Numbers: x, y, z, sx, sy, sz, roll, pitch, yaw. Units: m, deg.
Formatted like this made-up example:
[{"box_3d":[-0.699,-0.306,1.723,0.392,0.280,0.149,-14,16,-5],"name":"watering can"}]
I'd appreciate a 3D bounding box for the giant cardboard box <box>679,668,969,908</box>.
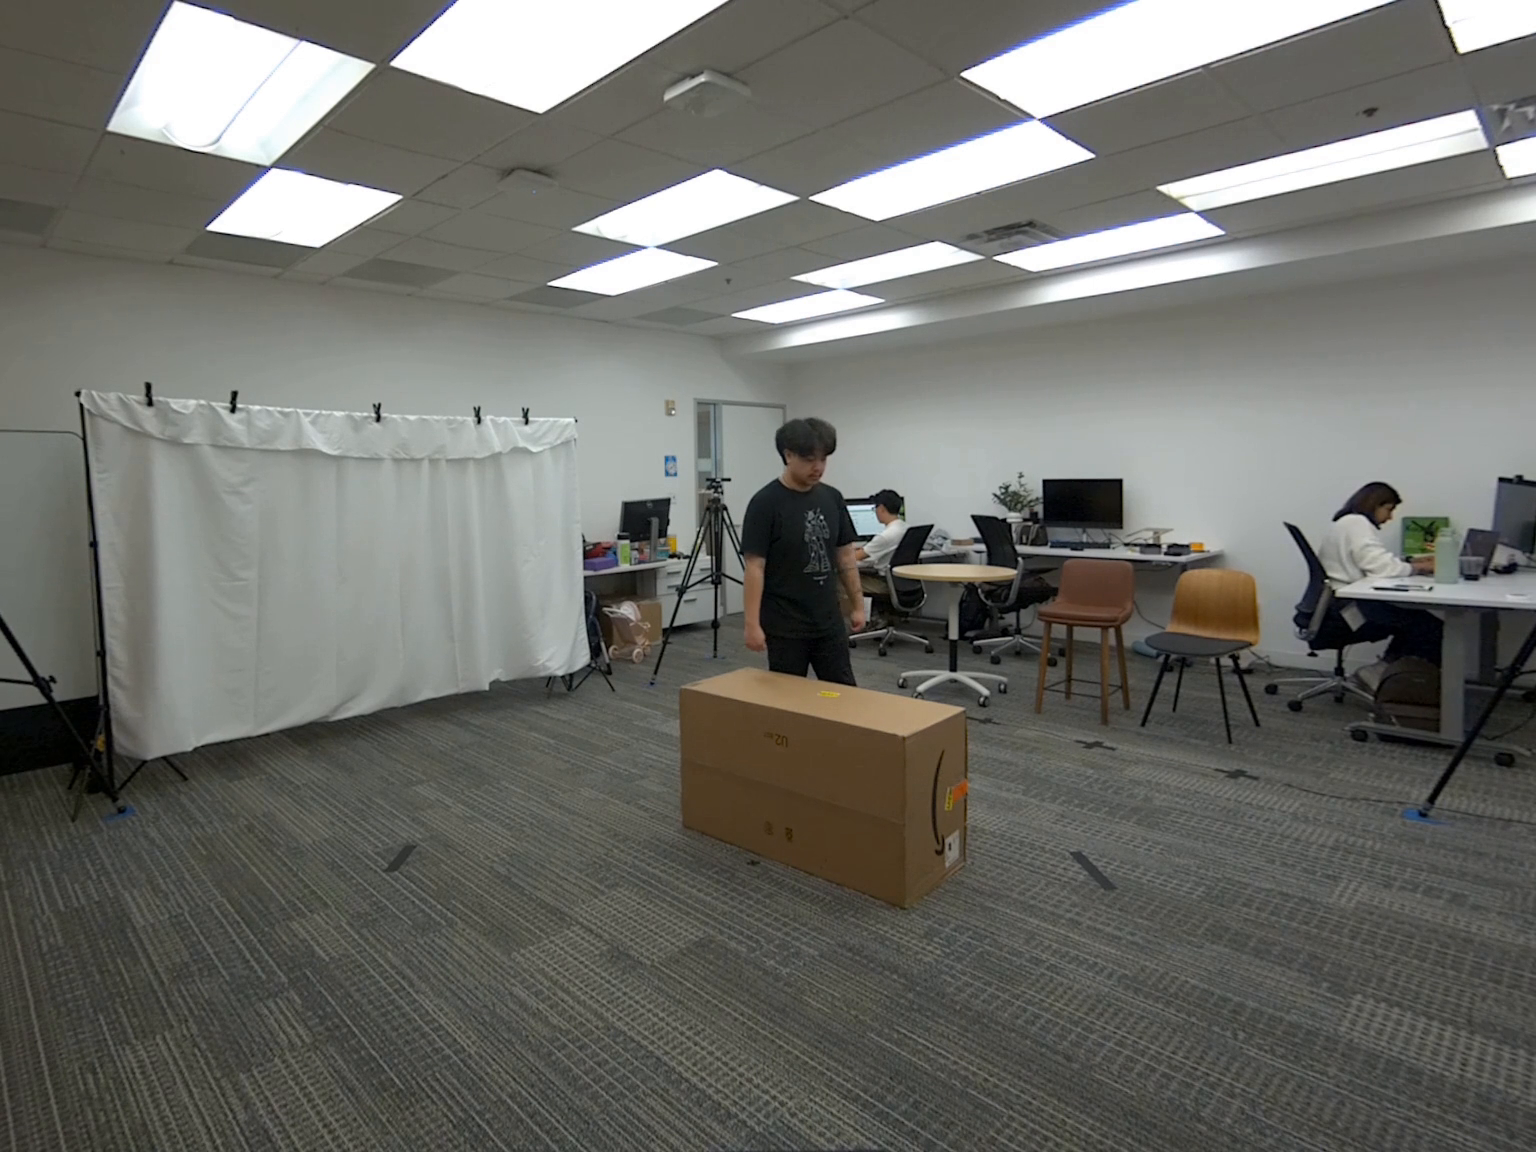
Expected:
[{"box_3d":[0.181,0.738,3.225,1.059,0.582,0.435,5,6,41],"name":"giant cardboard box"}]
